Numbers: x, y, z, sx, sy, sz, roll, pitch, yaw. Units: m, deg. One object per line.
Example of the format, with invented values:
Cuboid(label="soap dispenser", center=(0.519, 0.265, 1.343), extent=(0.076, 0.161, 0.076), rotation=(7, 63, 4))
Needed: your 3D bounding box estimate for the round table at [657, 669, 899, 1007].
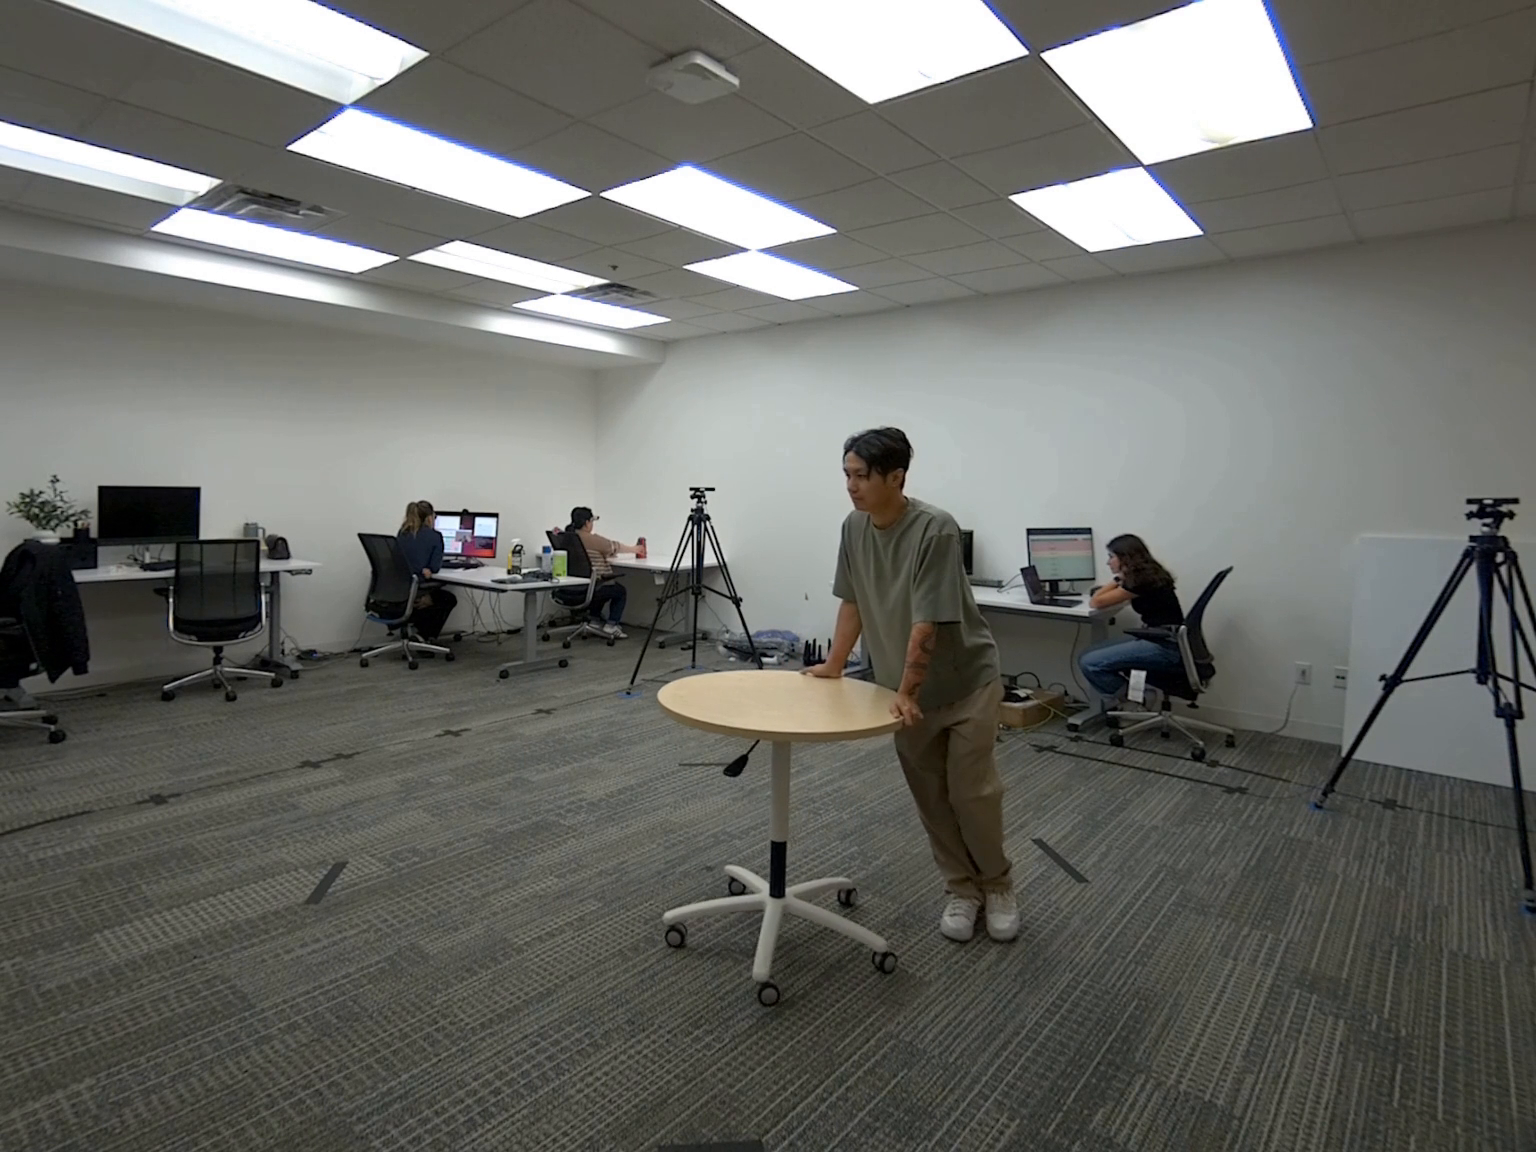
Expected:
Cuboid(label="round table", center=(0.026, 0.739, 2.630), extent=(0.784, 0.784, 0.789), rotation=(2, 4, -2))
